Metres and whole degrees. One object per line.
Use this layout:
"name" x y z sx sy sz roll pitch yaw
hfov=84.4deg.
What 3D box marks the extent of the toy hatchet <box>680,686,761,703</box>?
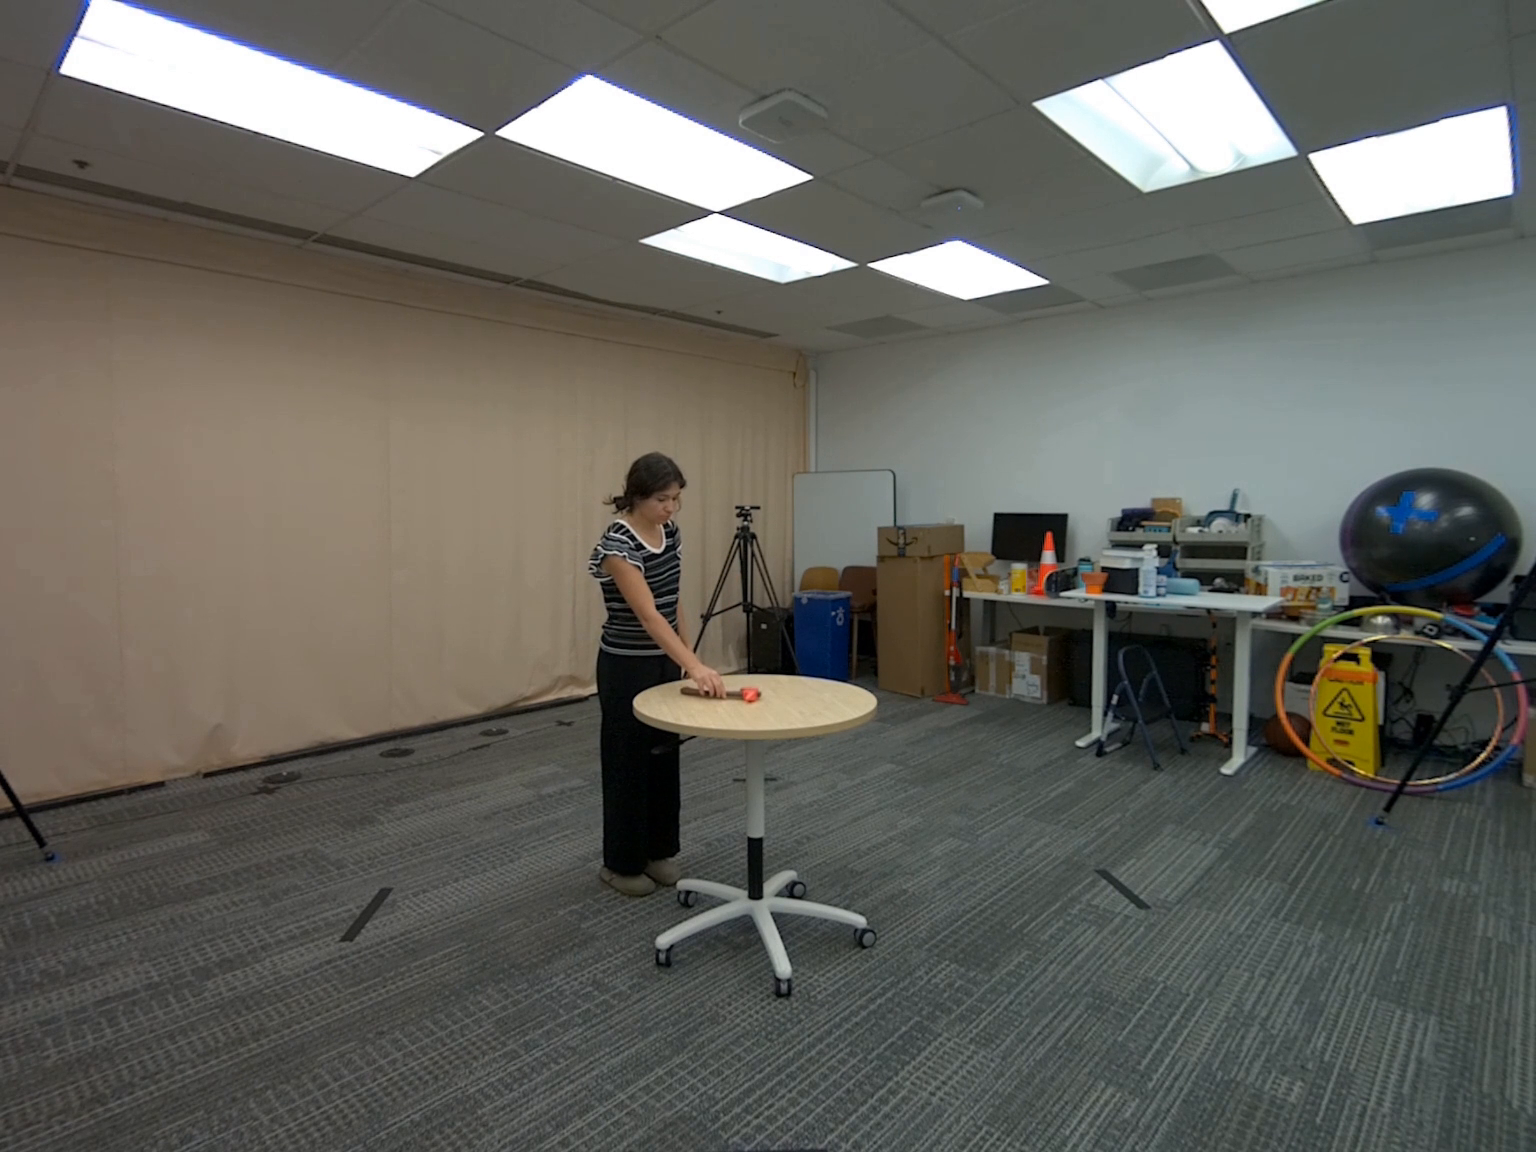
"toy hatchet" -0.144 0.375 2.689 0.278 0.029 0.127 1 7 33
